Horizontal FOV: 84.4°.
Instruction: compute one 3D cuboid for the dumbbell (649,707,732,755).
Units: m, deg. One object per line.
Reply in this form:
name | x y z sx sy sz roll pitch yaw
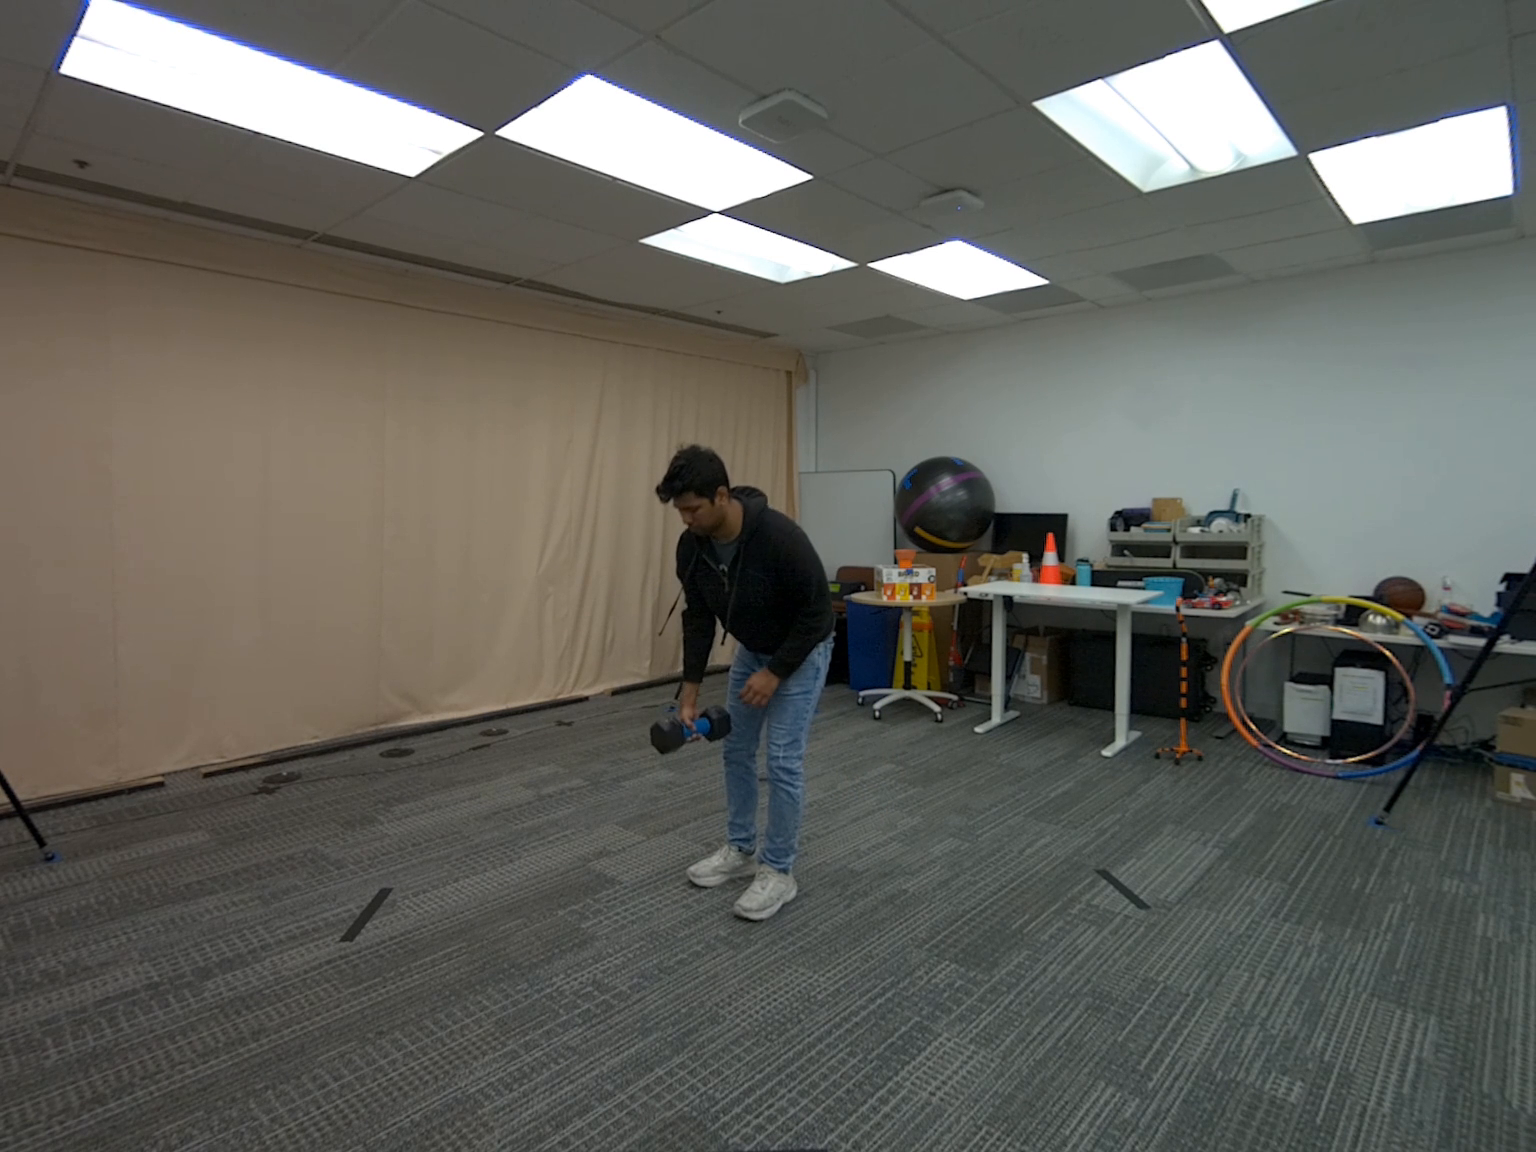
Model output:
dumbbell | -0.261 0.546 2.911 0.285 0.123 0.112 -5 0 -42
